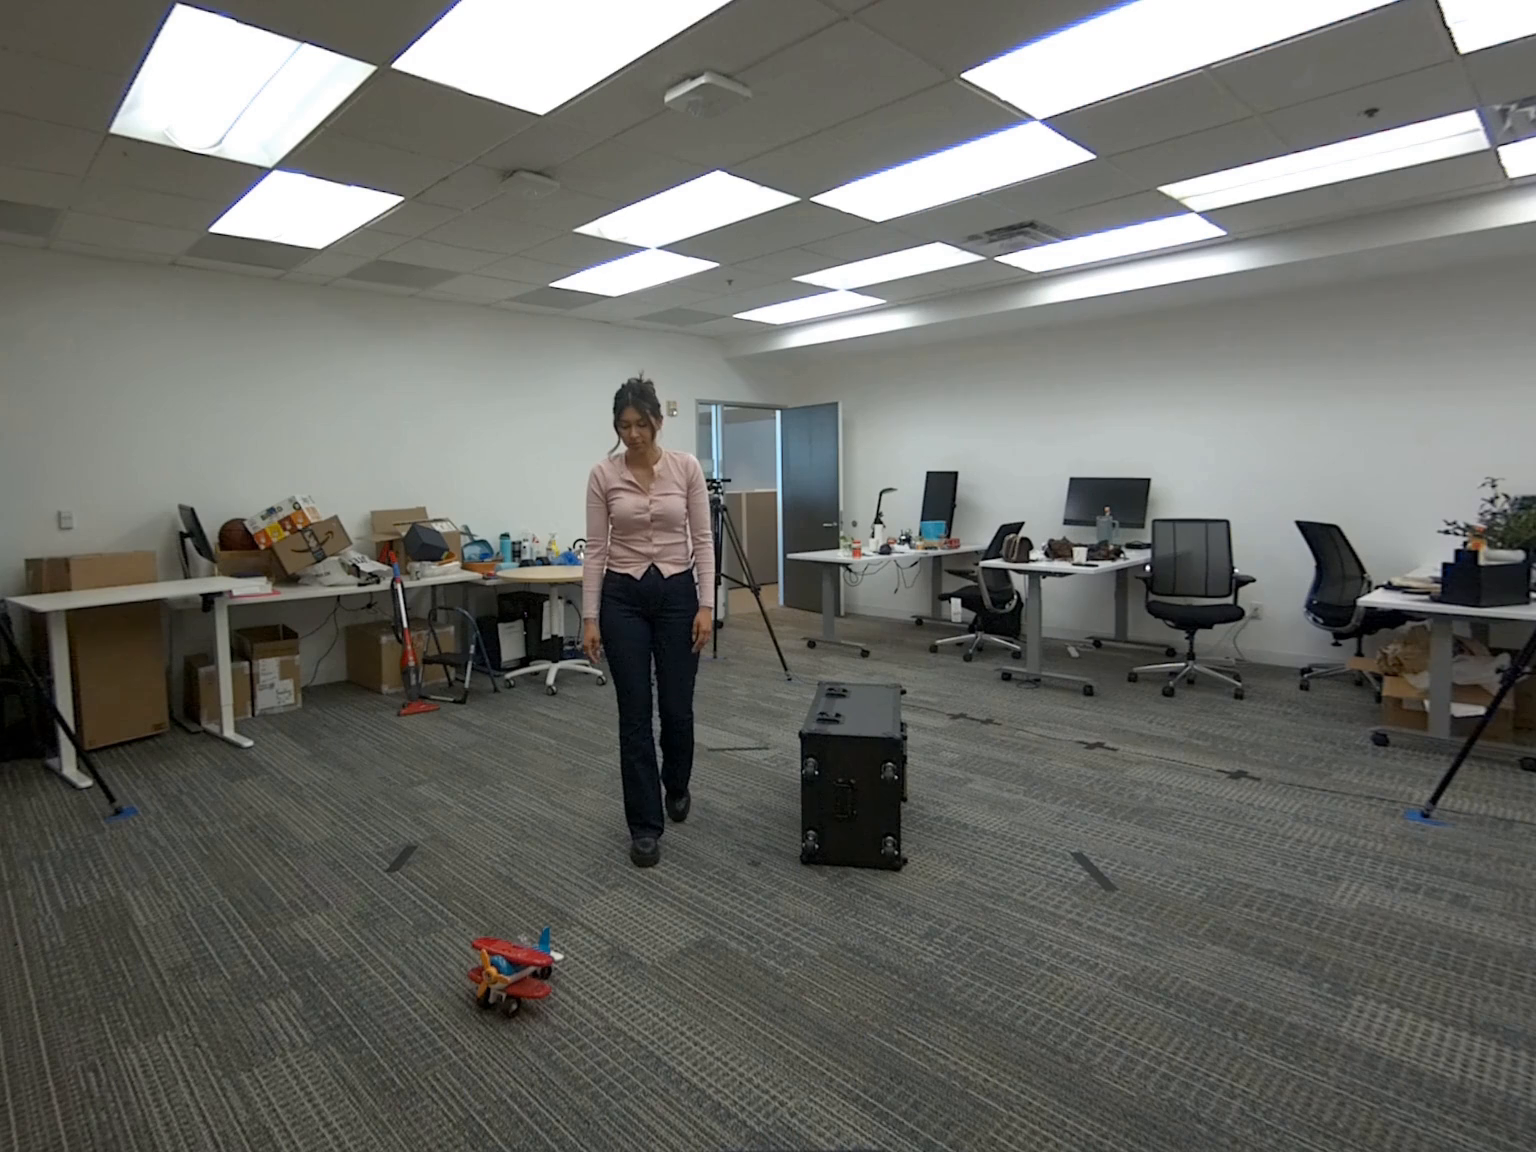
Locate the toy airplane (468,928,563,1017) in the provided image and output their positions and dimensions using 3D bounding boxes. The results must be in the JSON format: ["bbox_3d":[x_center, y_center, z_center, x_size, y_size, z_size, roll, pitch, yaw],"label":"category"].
[{"bbox_3d":[-0.696,1.080,2.345,0.250,0.155,0.261,-2,7,-4],"label":"toy airplane"}]
